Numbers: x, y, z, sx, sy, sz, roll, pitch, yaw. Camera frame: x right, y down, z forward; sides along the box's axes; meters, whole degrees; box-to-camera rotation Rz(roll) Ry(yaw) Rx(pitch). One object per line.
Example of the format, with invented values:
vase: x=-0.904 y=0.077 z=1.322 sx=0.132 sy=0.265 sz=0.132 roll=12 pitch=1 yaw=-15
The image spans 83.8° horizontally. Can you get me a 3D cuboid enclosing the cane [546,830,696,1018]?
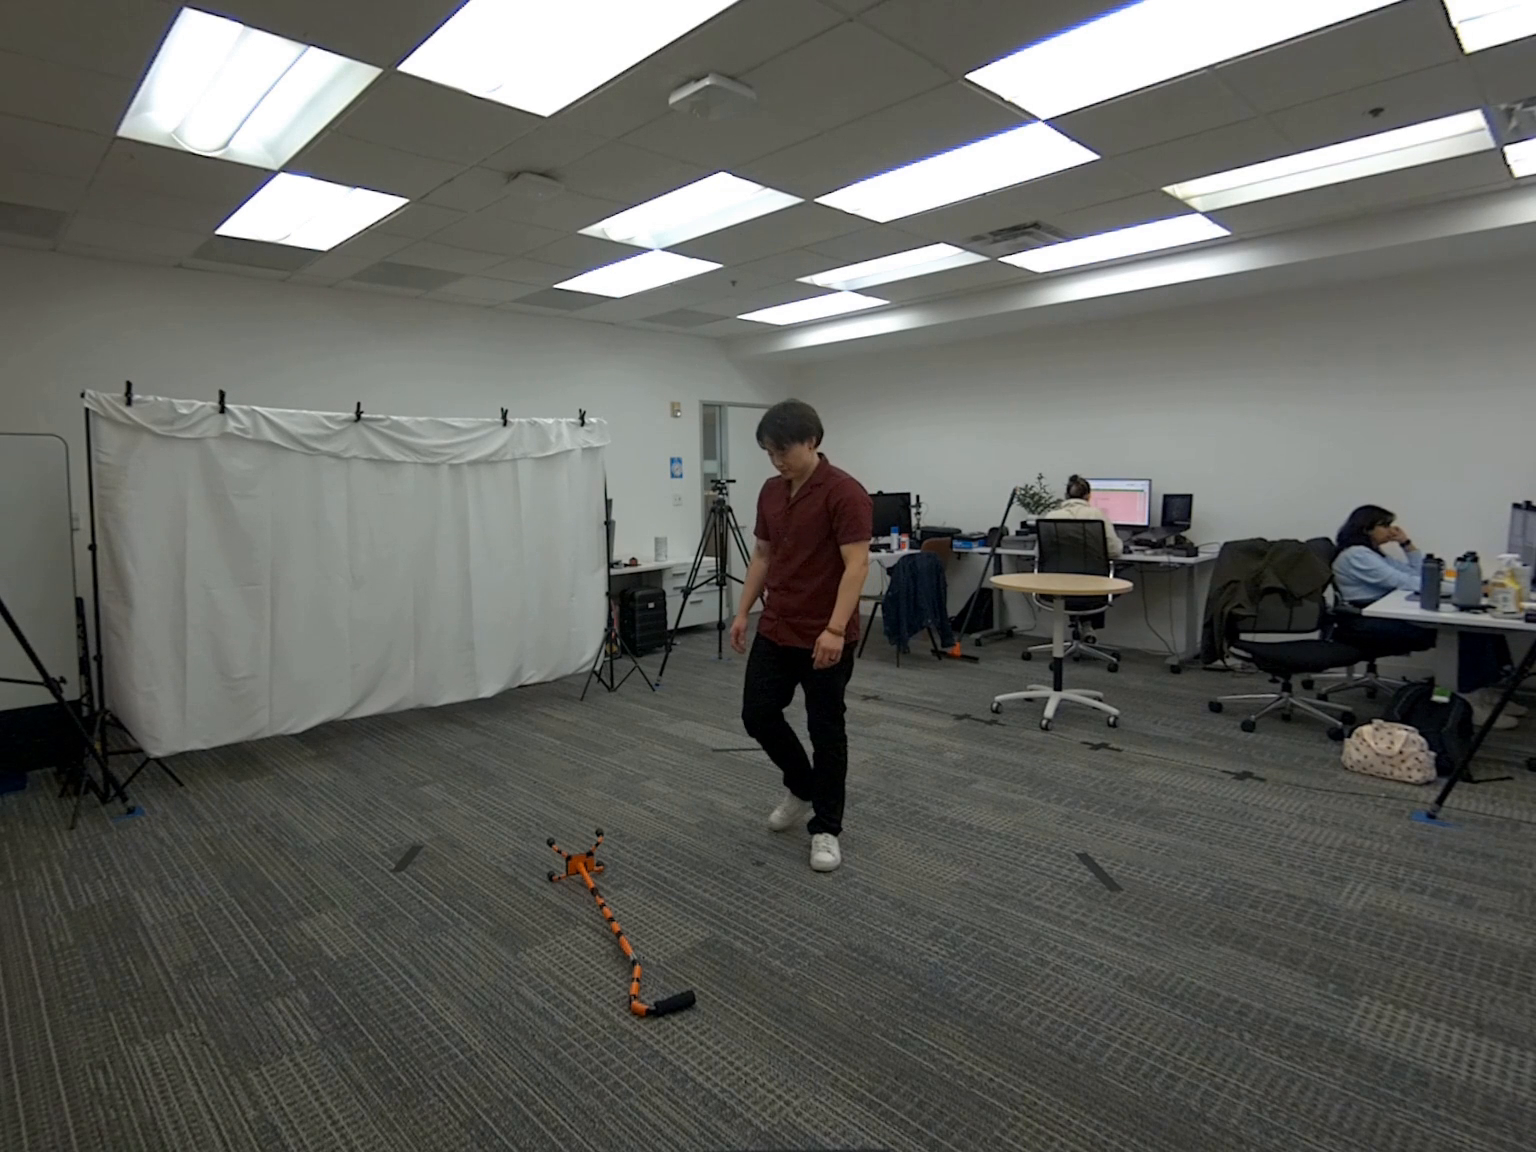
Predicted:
cane: x=-0.479 y=1.054 z=2.644 sx=0.202 sy=0.150 sz=0.934 roll=-6 pitch=11 yaw=-25
